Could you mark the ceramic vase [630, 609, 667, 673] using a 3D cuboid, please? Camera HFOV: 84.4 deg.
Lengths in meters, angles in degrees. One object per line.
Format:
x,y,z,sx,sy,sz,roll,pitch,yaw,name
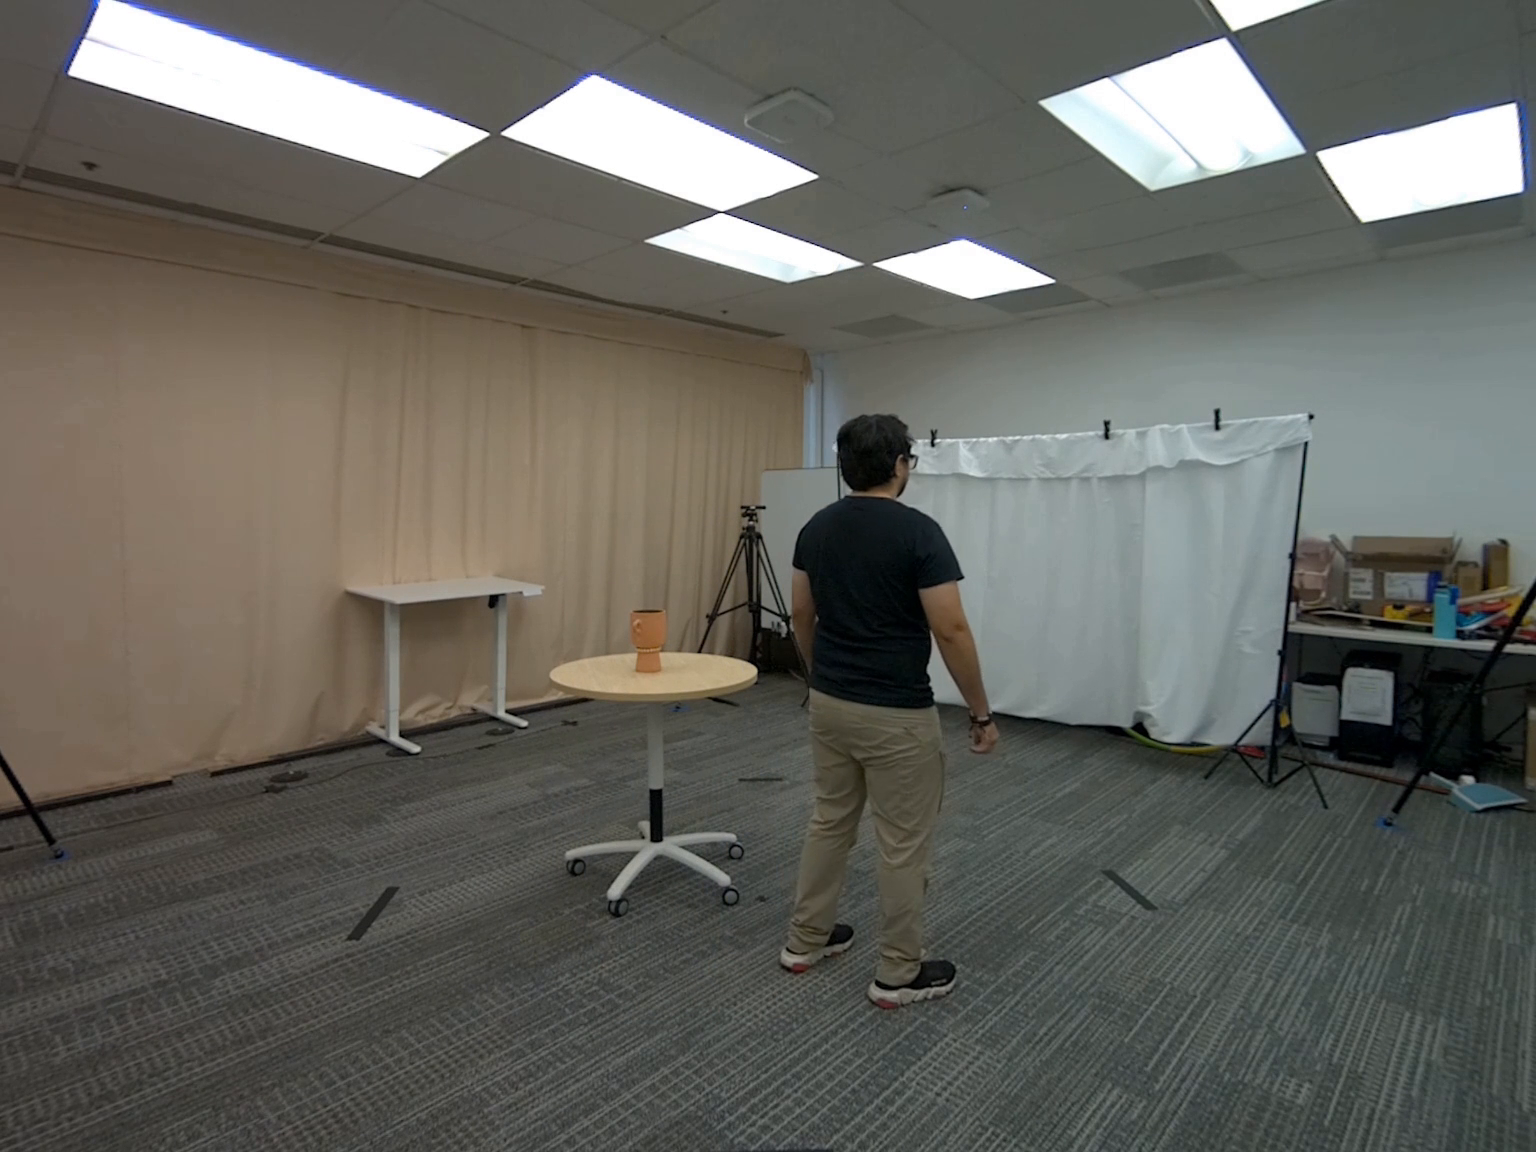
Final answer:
-0.446,0.240,3.127,0.155,0.219,0.138,-1,4,-28,ceramic vase
